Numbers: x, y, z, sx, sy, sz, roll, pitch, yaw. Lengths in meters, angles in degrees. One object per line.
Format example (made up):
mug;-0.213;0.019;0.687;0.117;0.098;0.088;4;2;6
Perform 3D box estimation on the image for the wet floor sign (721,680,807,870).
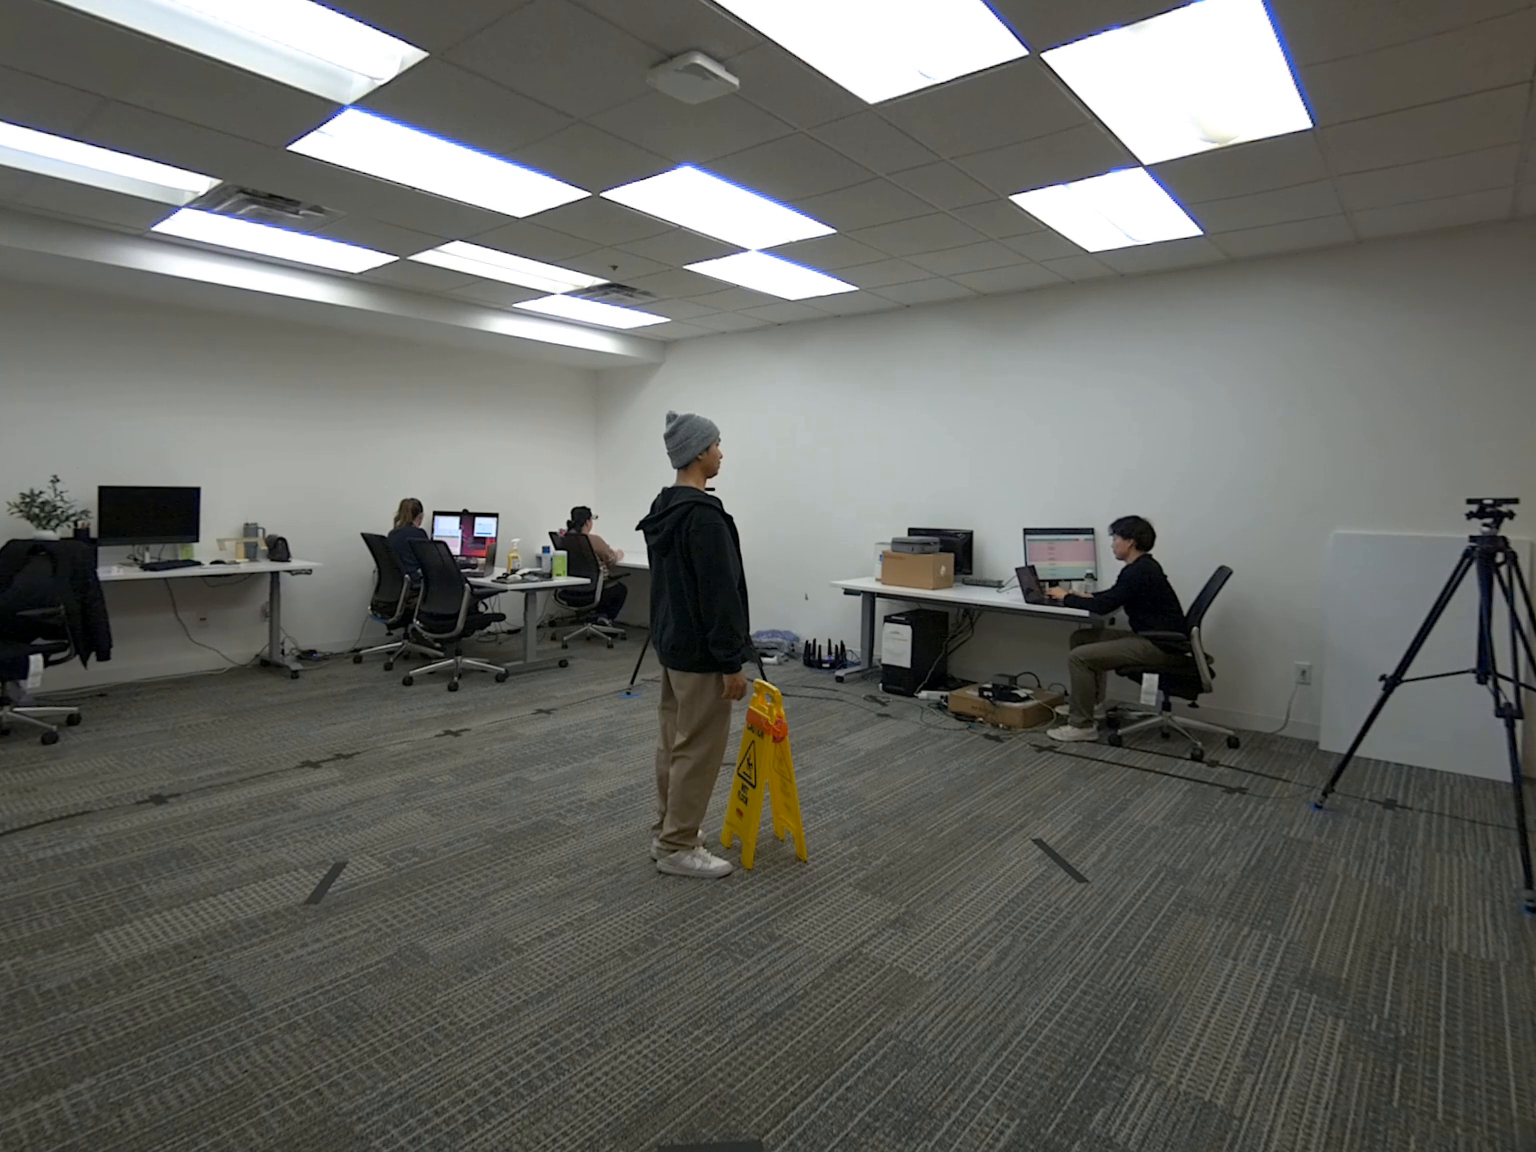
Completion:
wet floor sign;-0.019;0.729;3.252;0.283;0.644;0.289;2;4;-22
